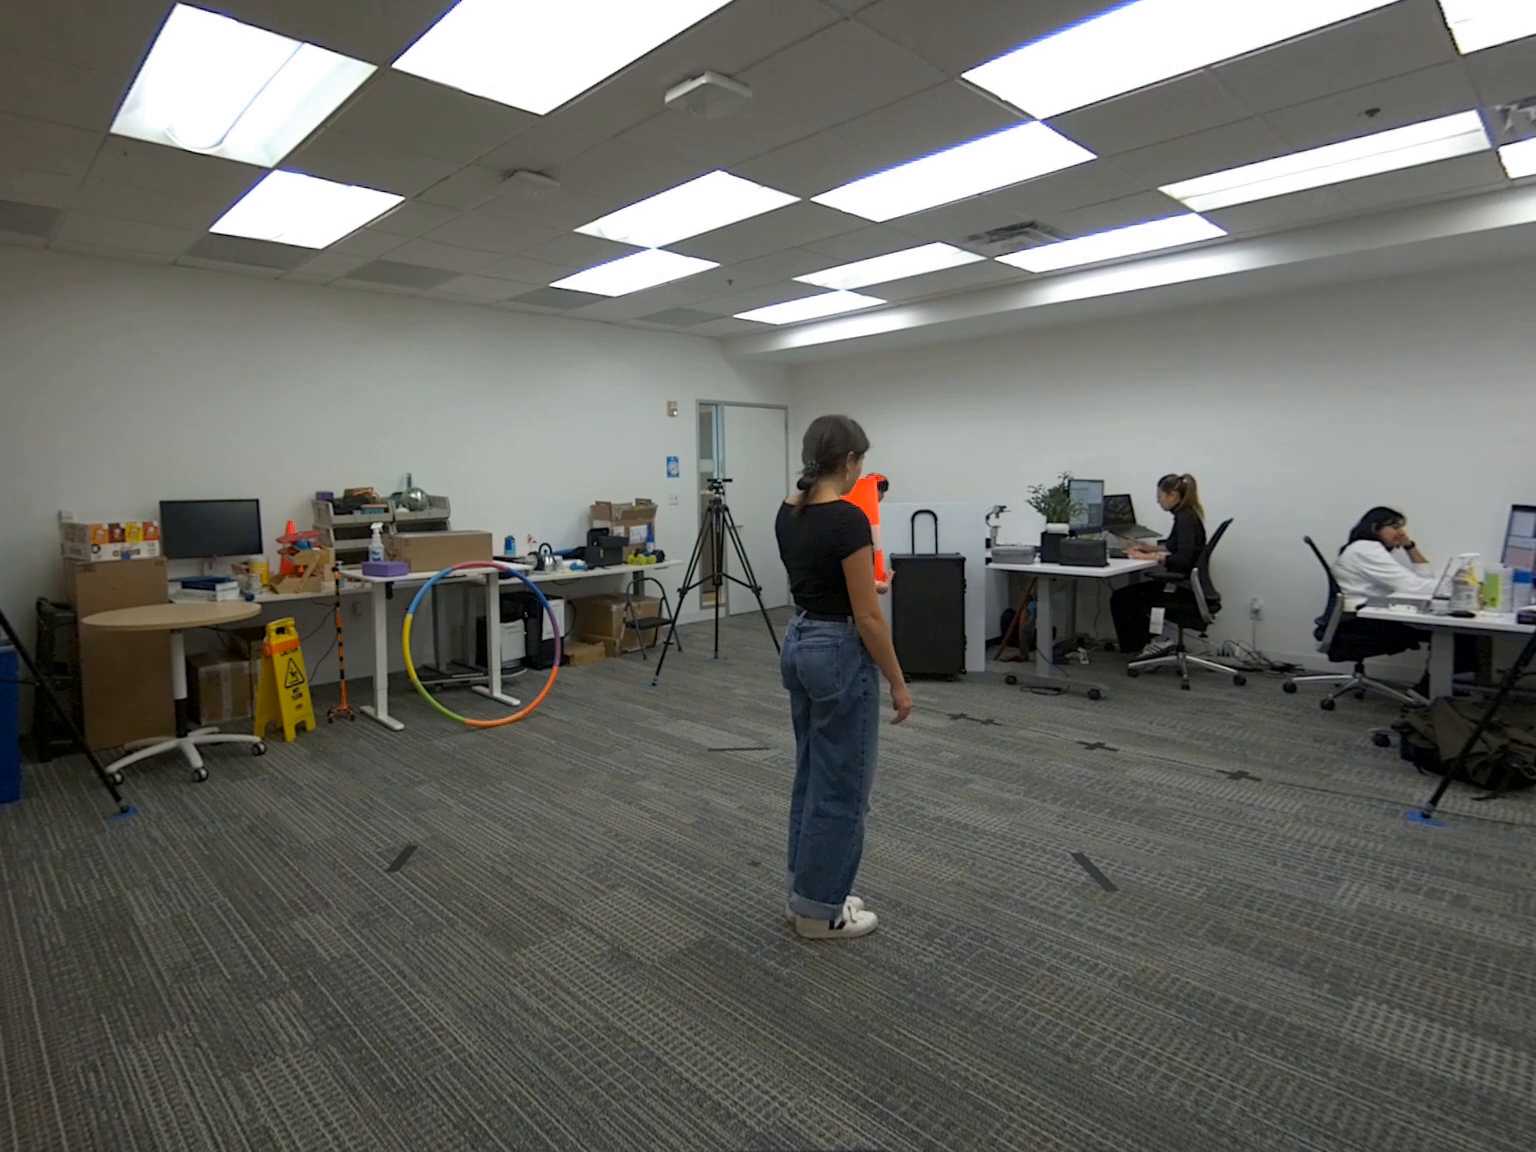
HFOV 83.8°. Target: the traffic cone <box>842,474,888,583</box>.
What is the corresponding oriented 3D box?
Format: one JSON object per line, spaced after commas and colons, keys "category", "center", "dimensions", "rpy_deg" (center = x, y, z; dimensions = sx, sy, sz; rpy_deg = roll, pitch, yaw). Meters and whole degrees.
{"category": "traffic cone", "center": [0.366, -0.146, 3.082], "dimensions": [0.207, 0.386, 0.200], "rpy_deg": [-15, -6, 16]}
